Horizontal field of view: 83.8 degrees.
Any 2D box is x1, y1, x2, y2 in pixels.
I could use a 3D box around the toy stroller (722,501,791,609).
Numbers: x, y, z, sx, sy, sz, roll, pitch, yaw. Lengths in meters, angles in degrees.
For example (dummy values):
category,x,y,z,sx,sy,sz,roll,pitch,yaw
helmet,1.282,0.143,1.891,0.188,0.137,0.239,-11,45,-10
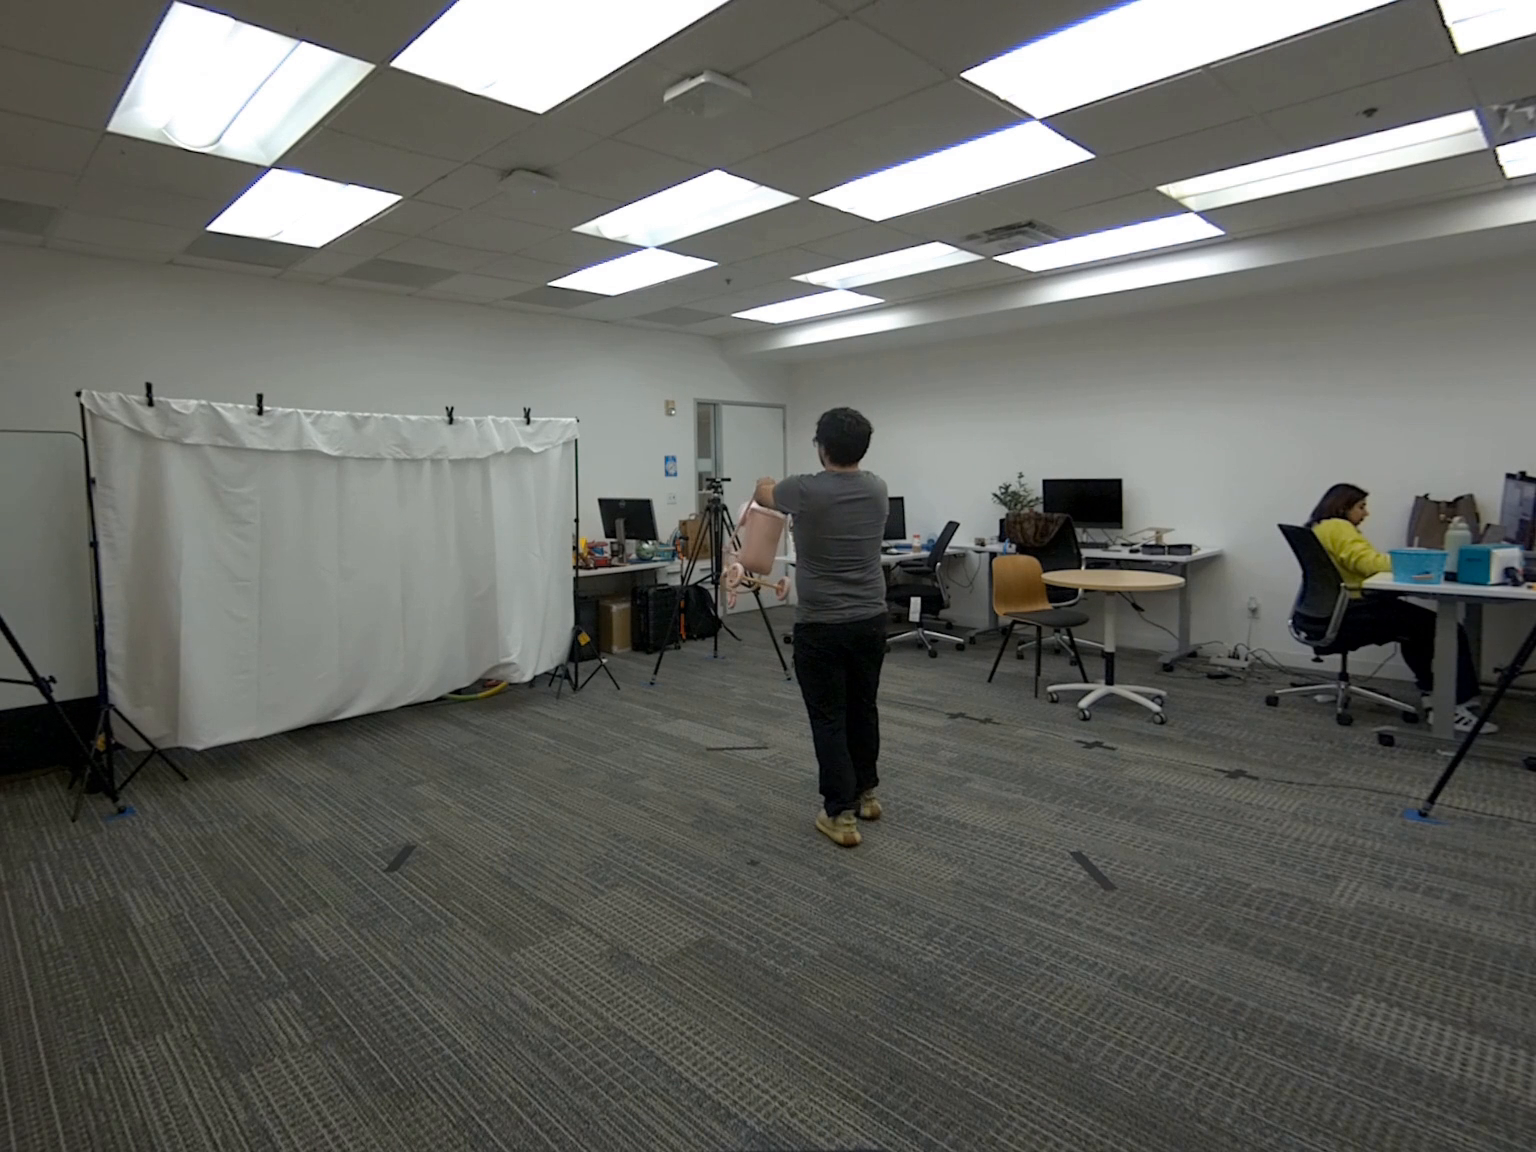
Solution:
category,x,y,z,sx,sy,sz,roll,pitch,yaw
toy stroller,-0.062,-0.118,3.896,0.275,0.539,0.347,14,-12,-24
